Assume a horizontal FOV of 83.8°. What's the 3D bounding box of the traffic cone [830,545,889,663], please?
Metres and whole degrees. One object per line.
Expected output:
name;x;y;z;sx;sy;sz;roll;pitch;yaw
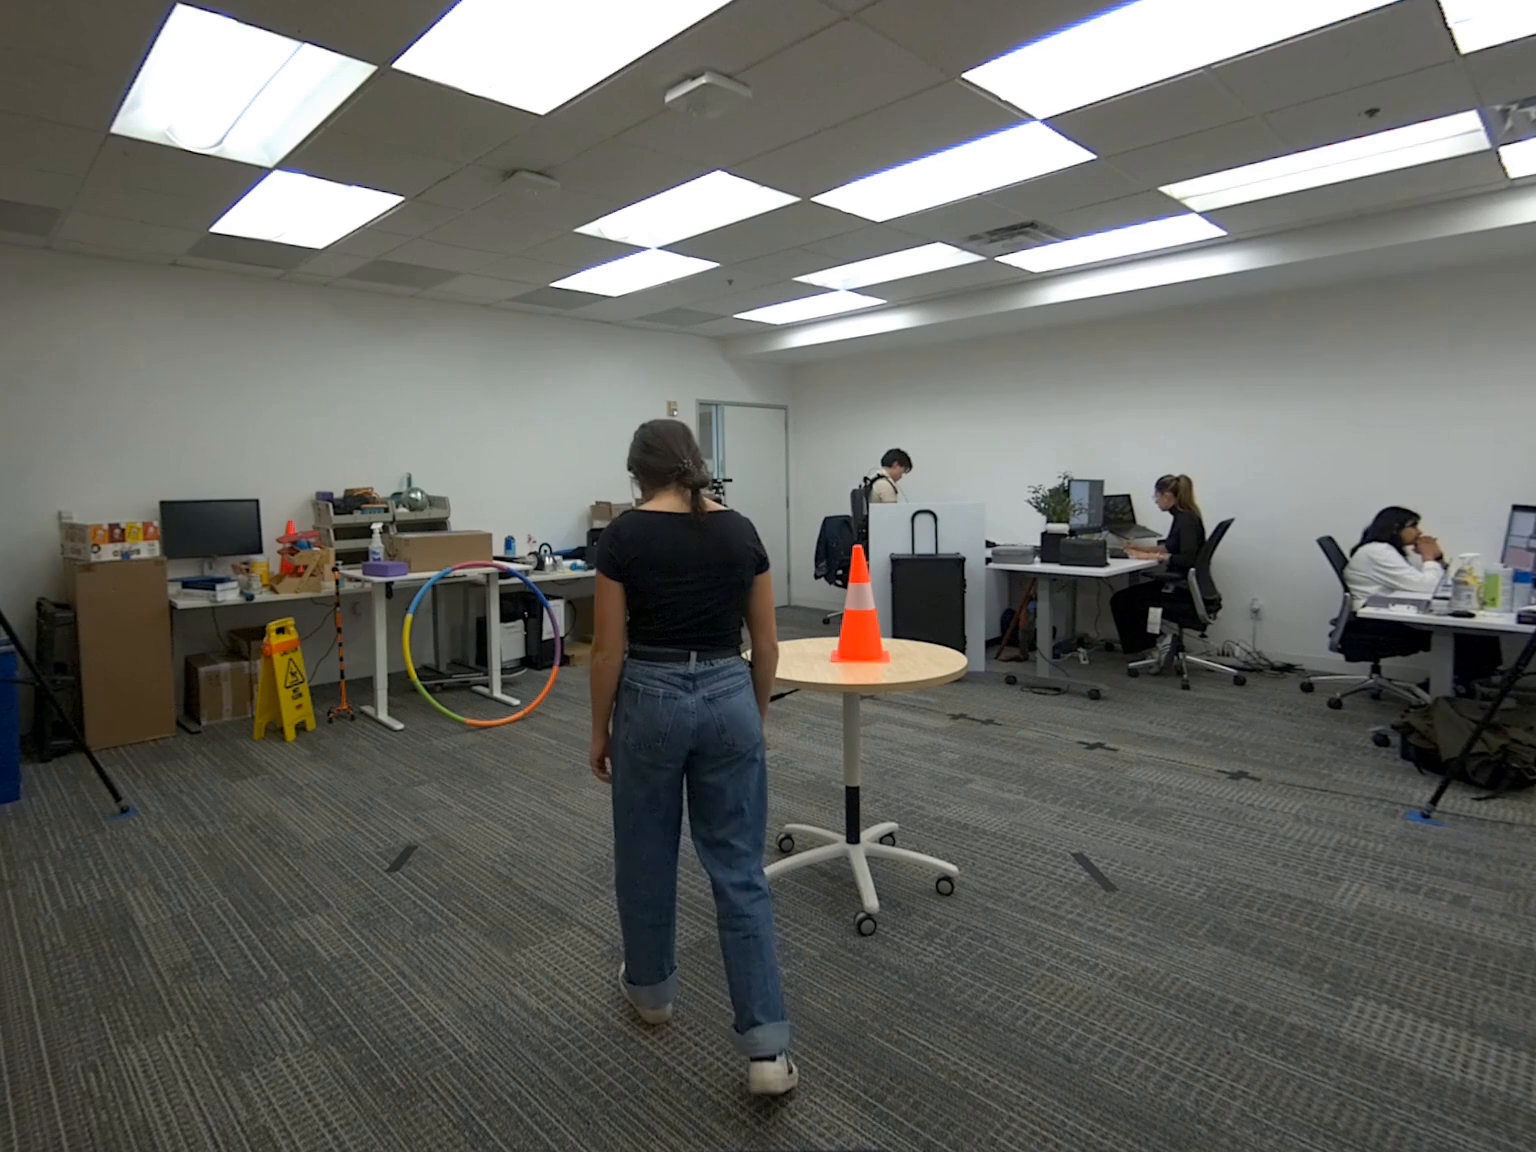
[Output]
traffic cone;0.314;0.092;2.913;0.204;0.382;0.205;-1;5;5
